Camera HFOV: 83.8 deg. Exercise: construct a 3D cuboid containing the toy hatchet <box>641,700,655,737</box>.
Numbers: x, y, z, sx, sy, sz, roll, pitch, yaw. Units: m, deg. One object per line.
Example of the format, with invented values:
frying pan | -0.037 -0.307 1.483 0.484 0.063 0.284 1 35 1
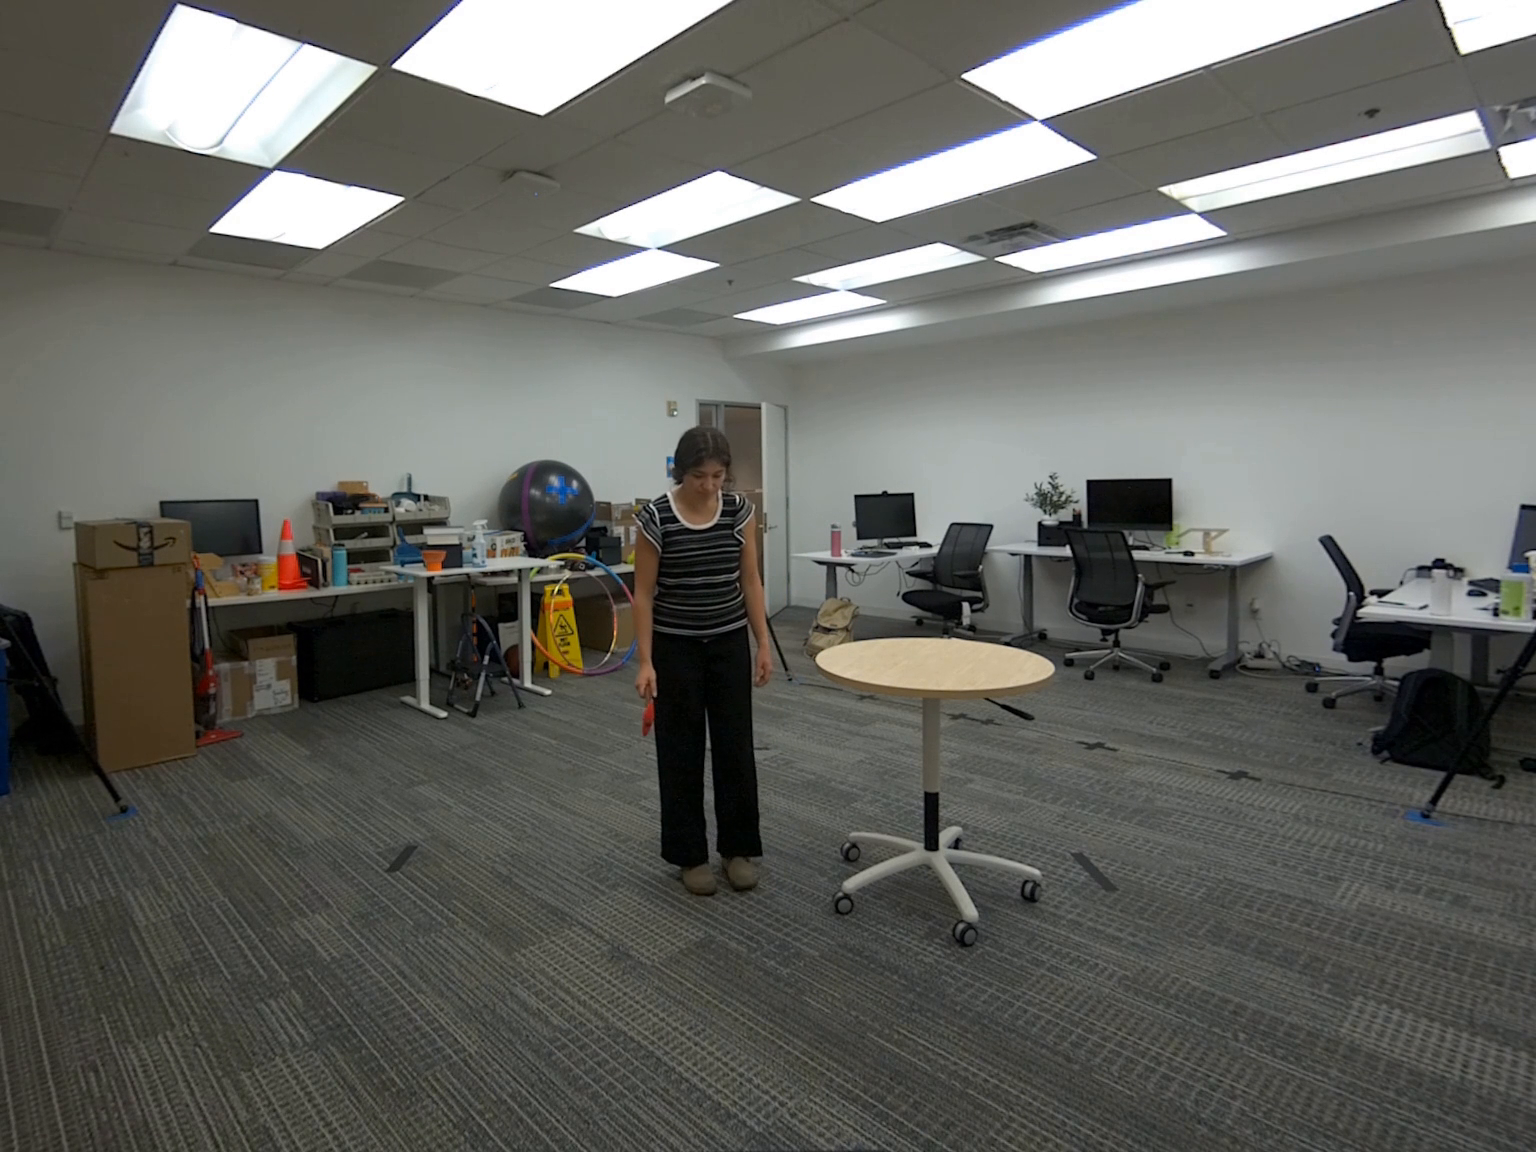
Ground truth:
toy hatchet | -0.384 0.428 2.737 0.029 0.130 0.273 8 7 -8
